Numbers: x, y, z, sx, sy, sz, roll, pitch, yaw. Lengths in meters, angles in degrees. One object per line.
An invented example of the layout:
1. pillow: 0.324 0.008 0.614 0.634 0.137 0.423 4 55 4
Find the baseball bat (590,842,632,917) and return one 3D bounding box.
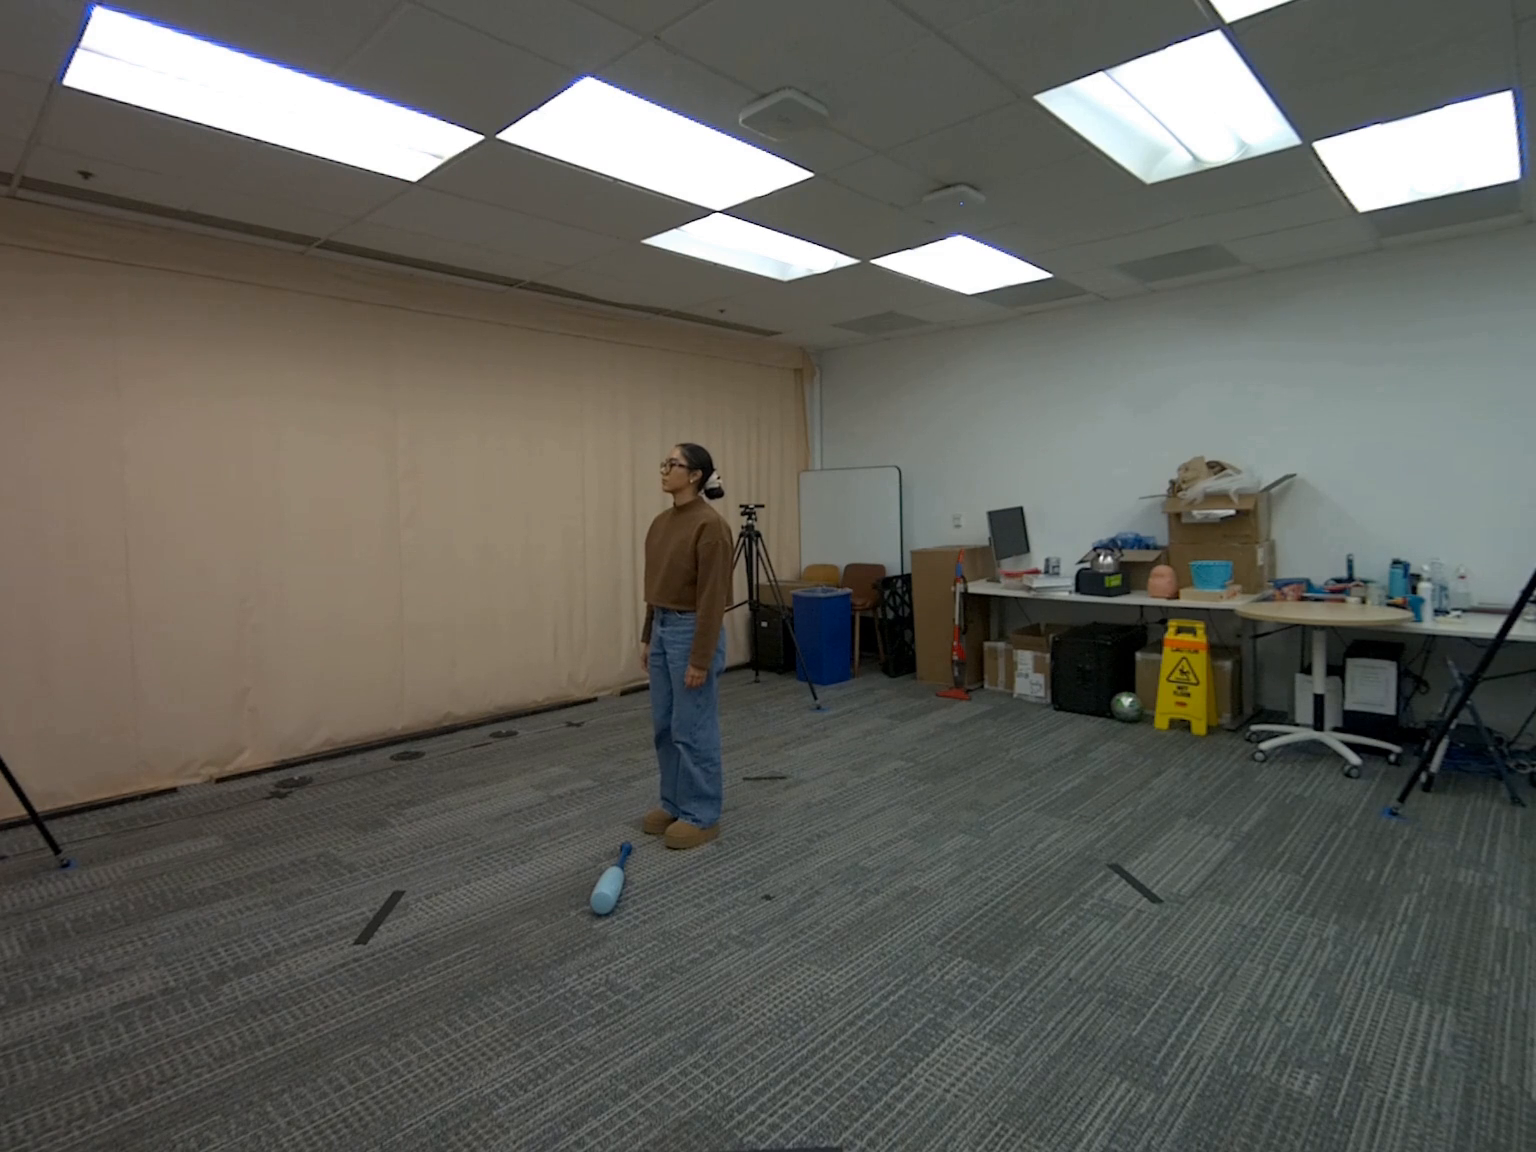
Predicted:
1. baseball bat: -0.564 1.099 3.122 0.089 0.089 0.543 -1 3 -2
